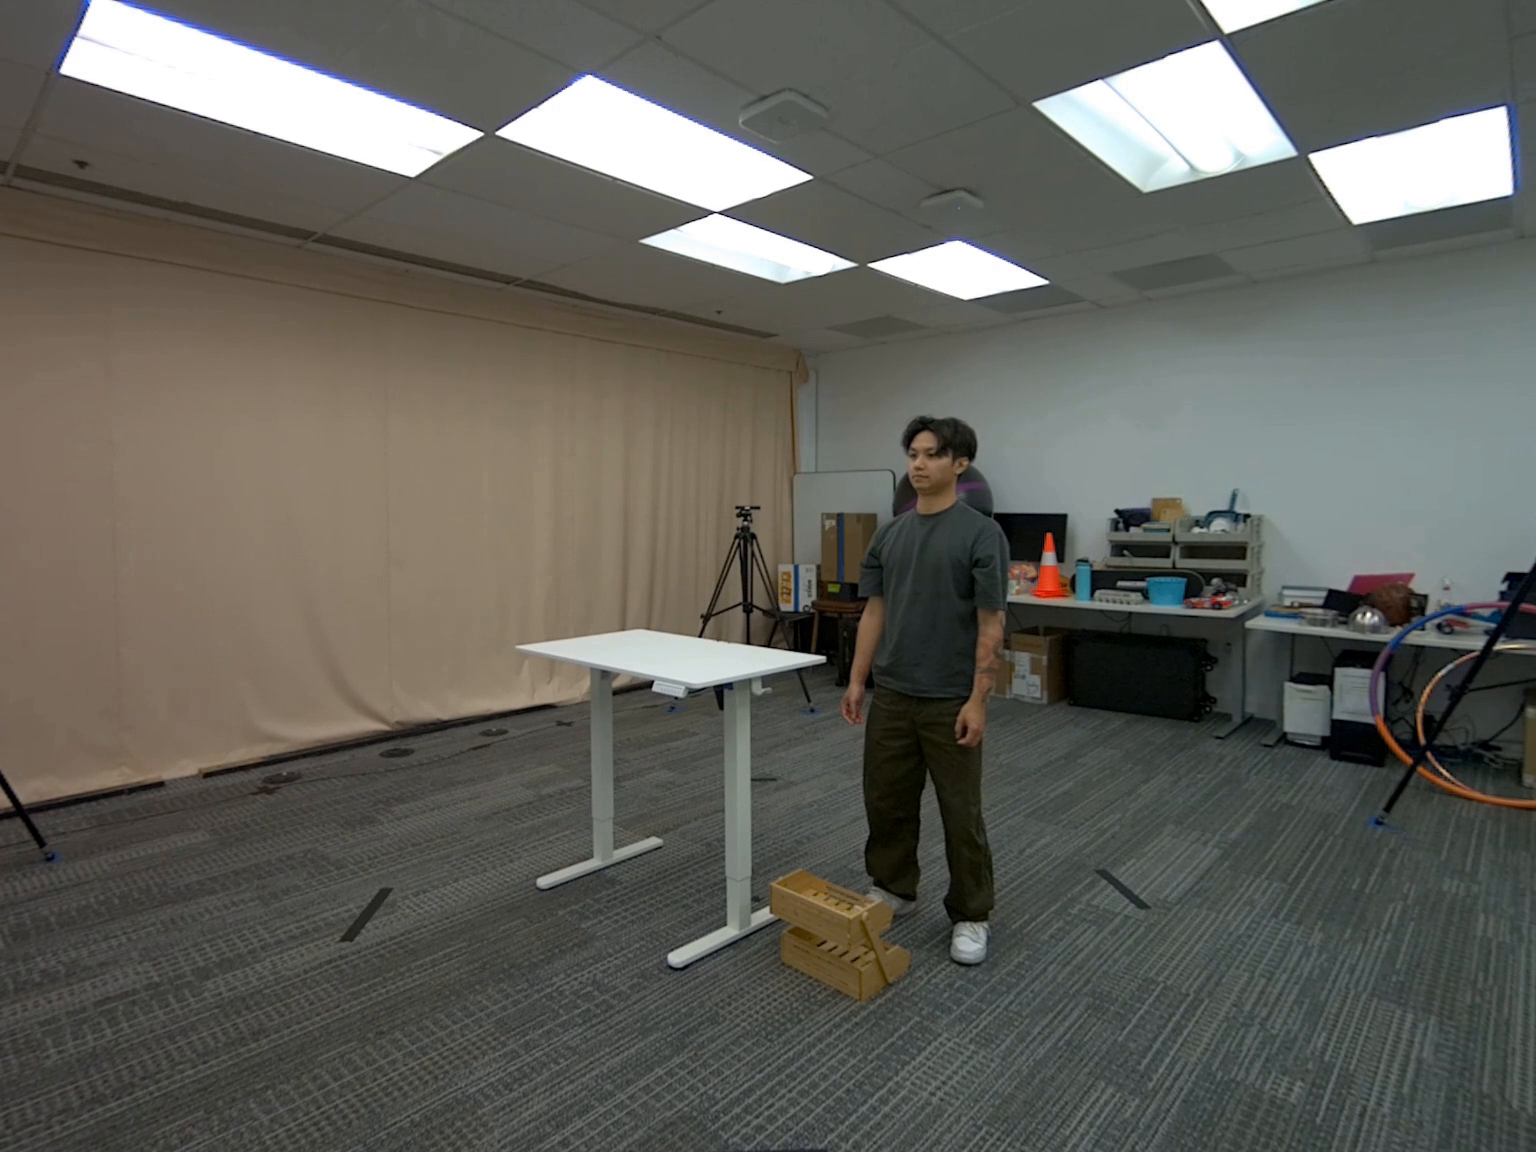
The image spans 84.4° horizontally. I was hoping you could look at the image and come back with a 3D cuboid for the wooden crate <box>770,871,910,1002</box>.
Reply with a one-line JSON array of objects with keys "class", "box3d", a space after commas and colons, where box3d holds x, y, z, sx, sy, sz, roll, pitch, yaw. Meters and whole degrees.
[{"class": "wooden crate", "box3d": [0.225, 1.046, 2.529, 0.335, 0.272, 0.293, 4, 6, 44]}]
